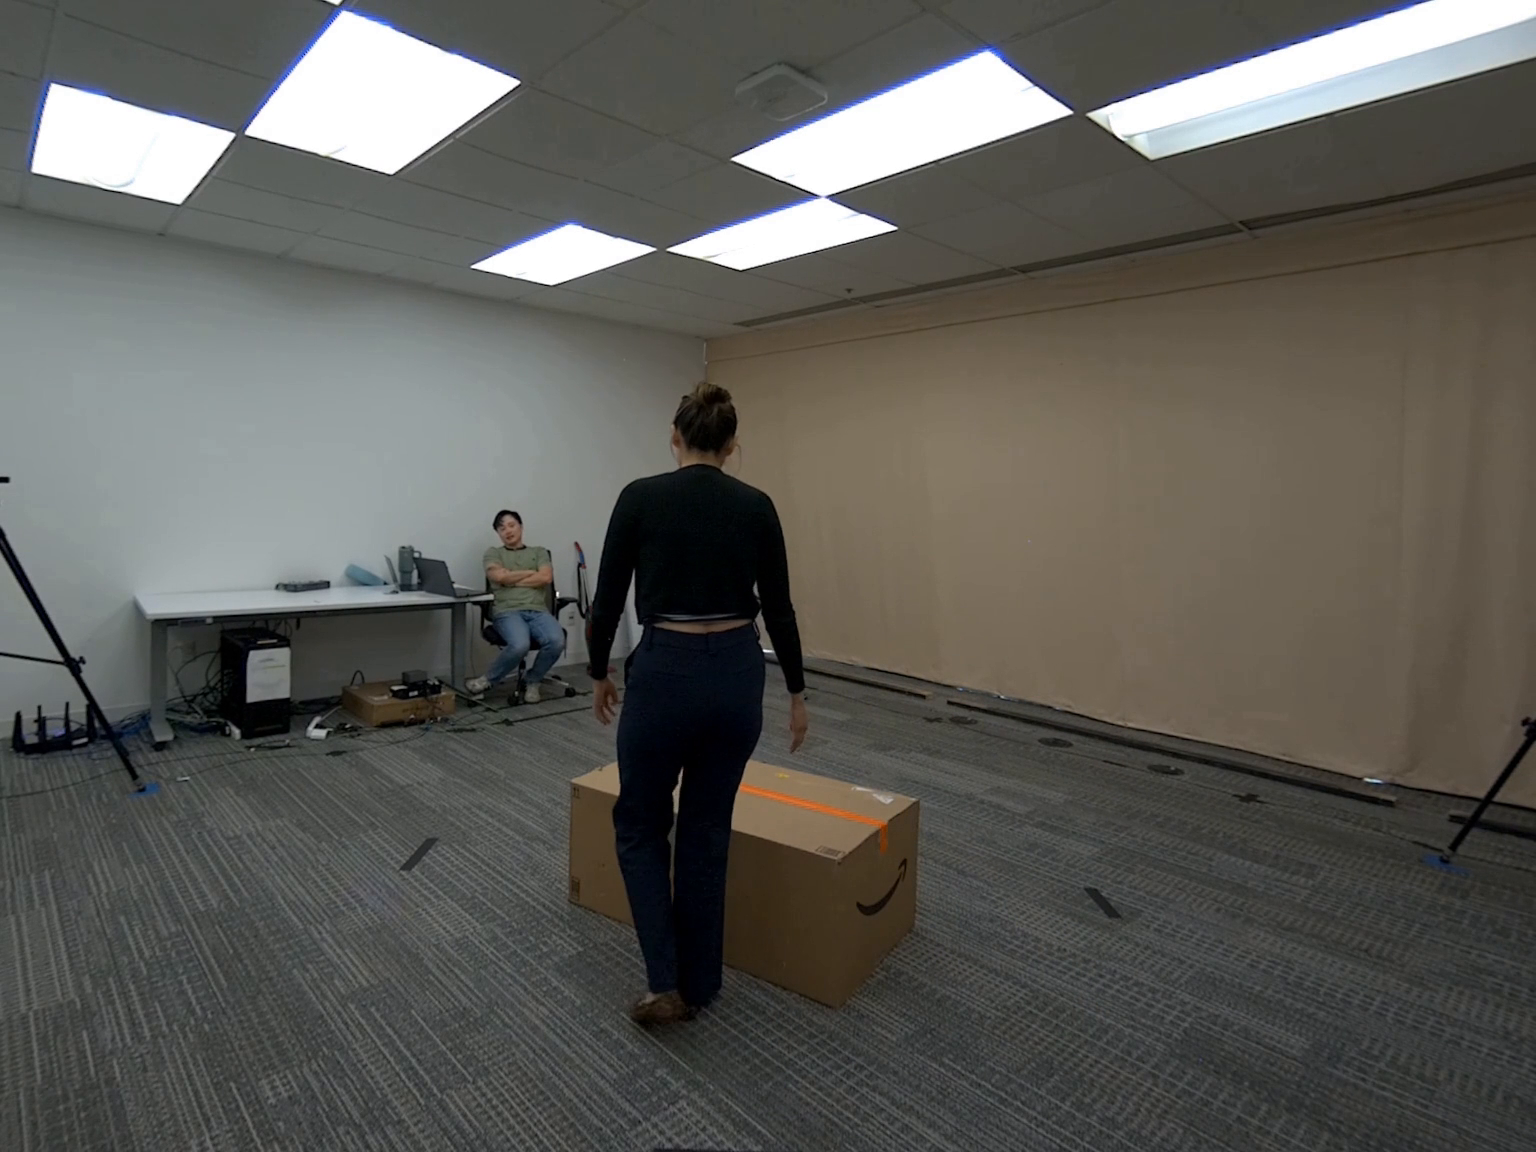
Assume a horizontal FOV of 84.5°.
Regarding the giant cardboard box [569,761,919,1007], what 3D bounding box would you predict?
[{"bbox_3d":[-0.097,0.919,2.804,1.050,0.425,0.566,5,7,33],"label":"giant cardboard box"}]
